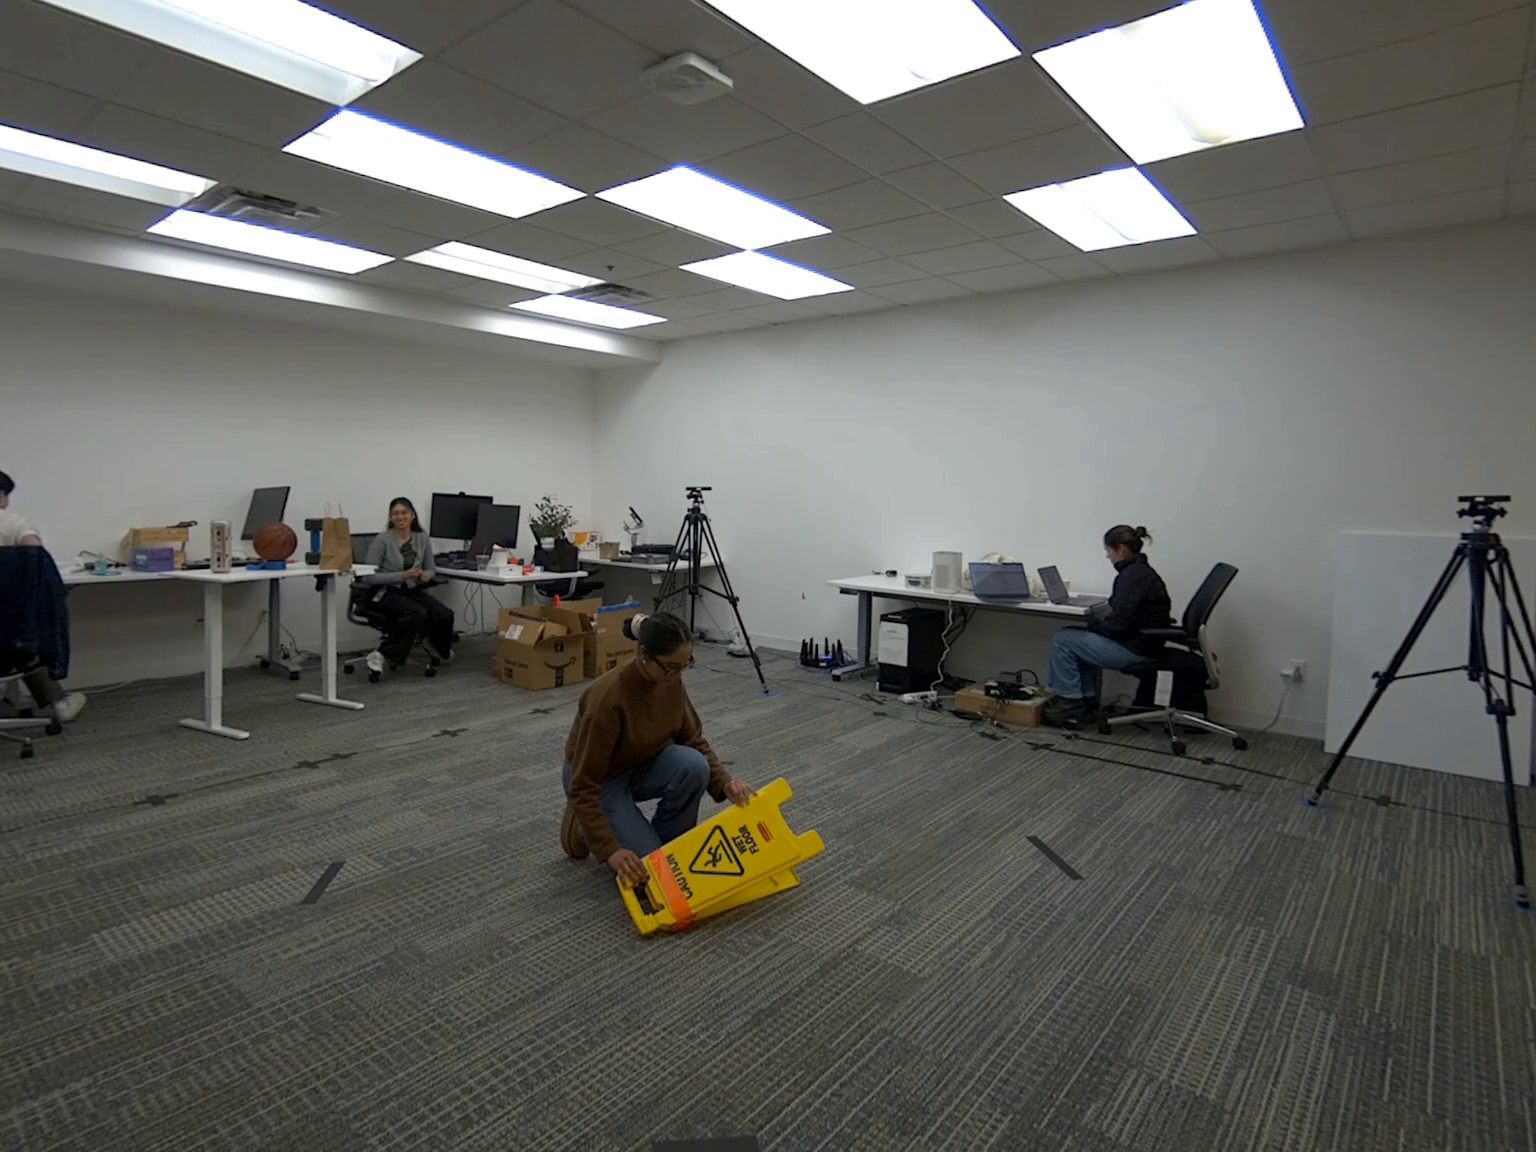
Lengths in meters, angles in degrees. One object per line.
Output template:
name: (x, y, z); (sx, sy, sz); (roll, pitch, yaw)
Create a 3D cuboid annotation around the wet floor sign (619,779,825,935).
wet floor sign: (-0.177, 0.959, 2.808); (0.632, 0.285, 0.293); (-15, 54, -33)
